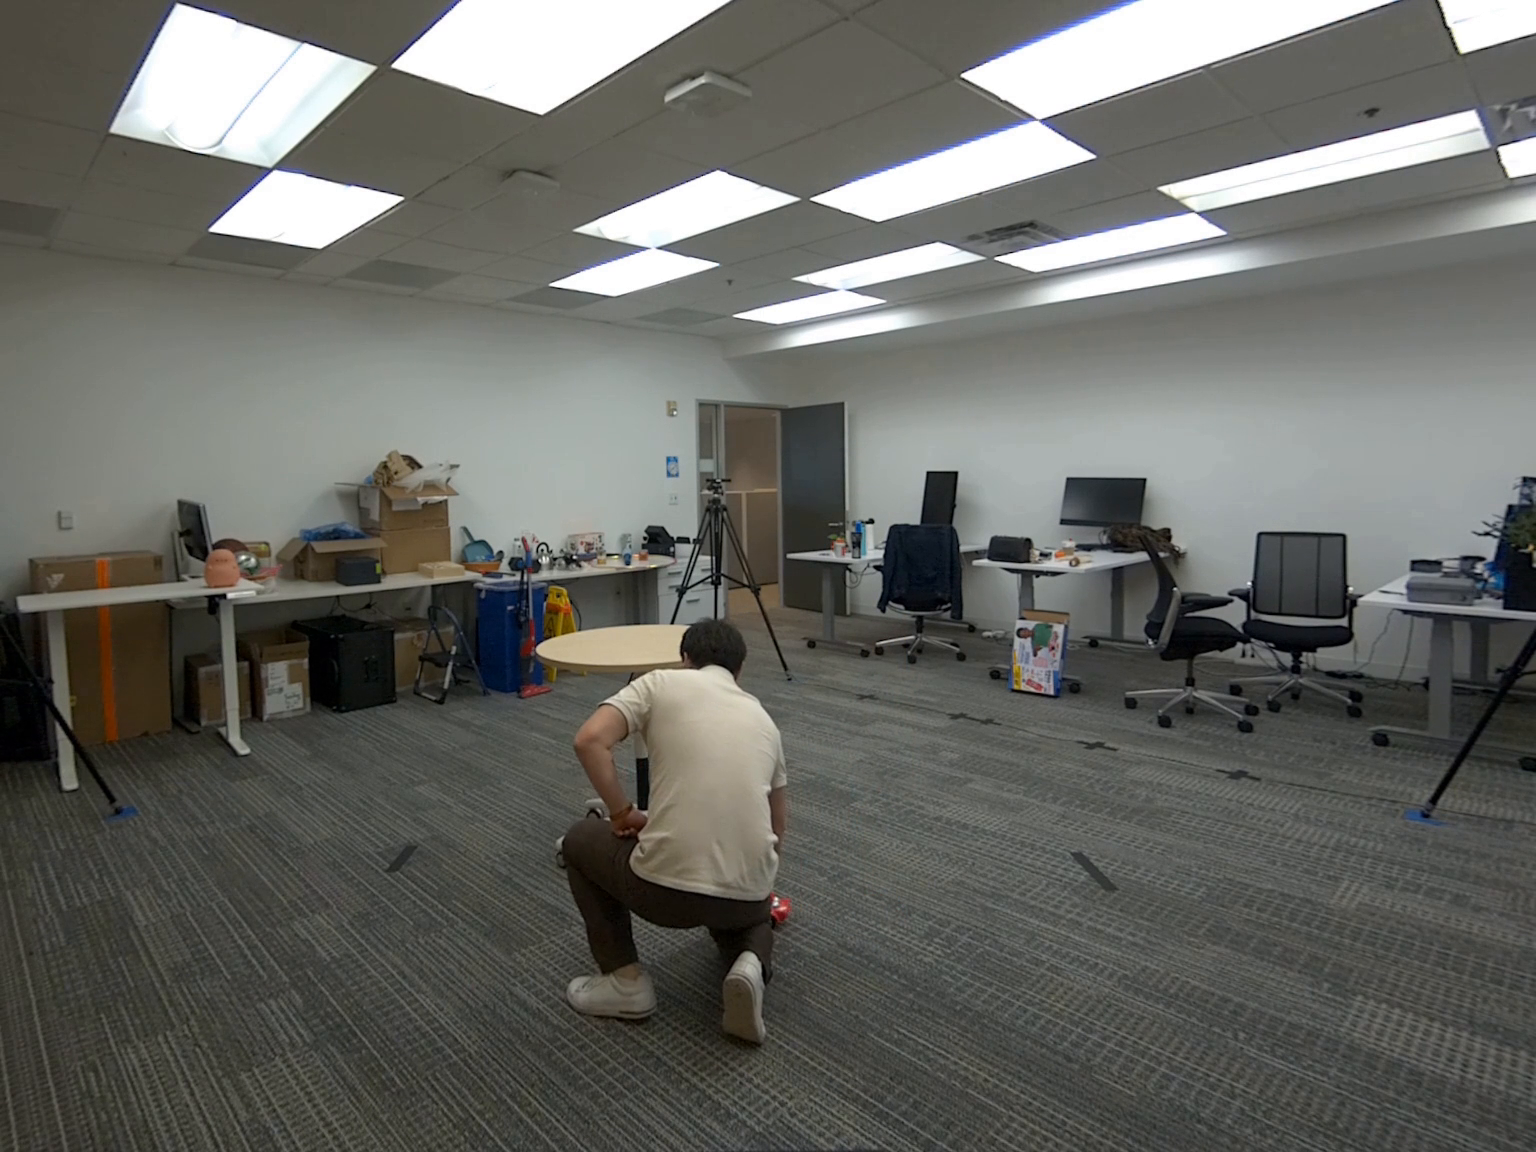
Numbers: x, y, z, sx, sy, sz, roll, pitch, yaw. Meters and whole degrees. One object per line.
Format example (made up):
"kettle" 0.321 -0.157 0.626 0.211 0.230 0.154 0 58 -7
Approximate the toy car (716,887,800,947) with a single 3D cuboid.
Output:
"toy car" -0.040 1.067 2.687 0.255 0.083 0.131 -10 5 1
